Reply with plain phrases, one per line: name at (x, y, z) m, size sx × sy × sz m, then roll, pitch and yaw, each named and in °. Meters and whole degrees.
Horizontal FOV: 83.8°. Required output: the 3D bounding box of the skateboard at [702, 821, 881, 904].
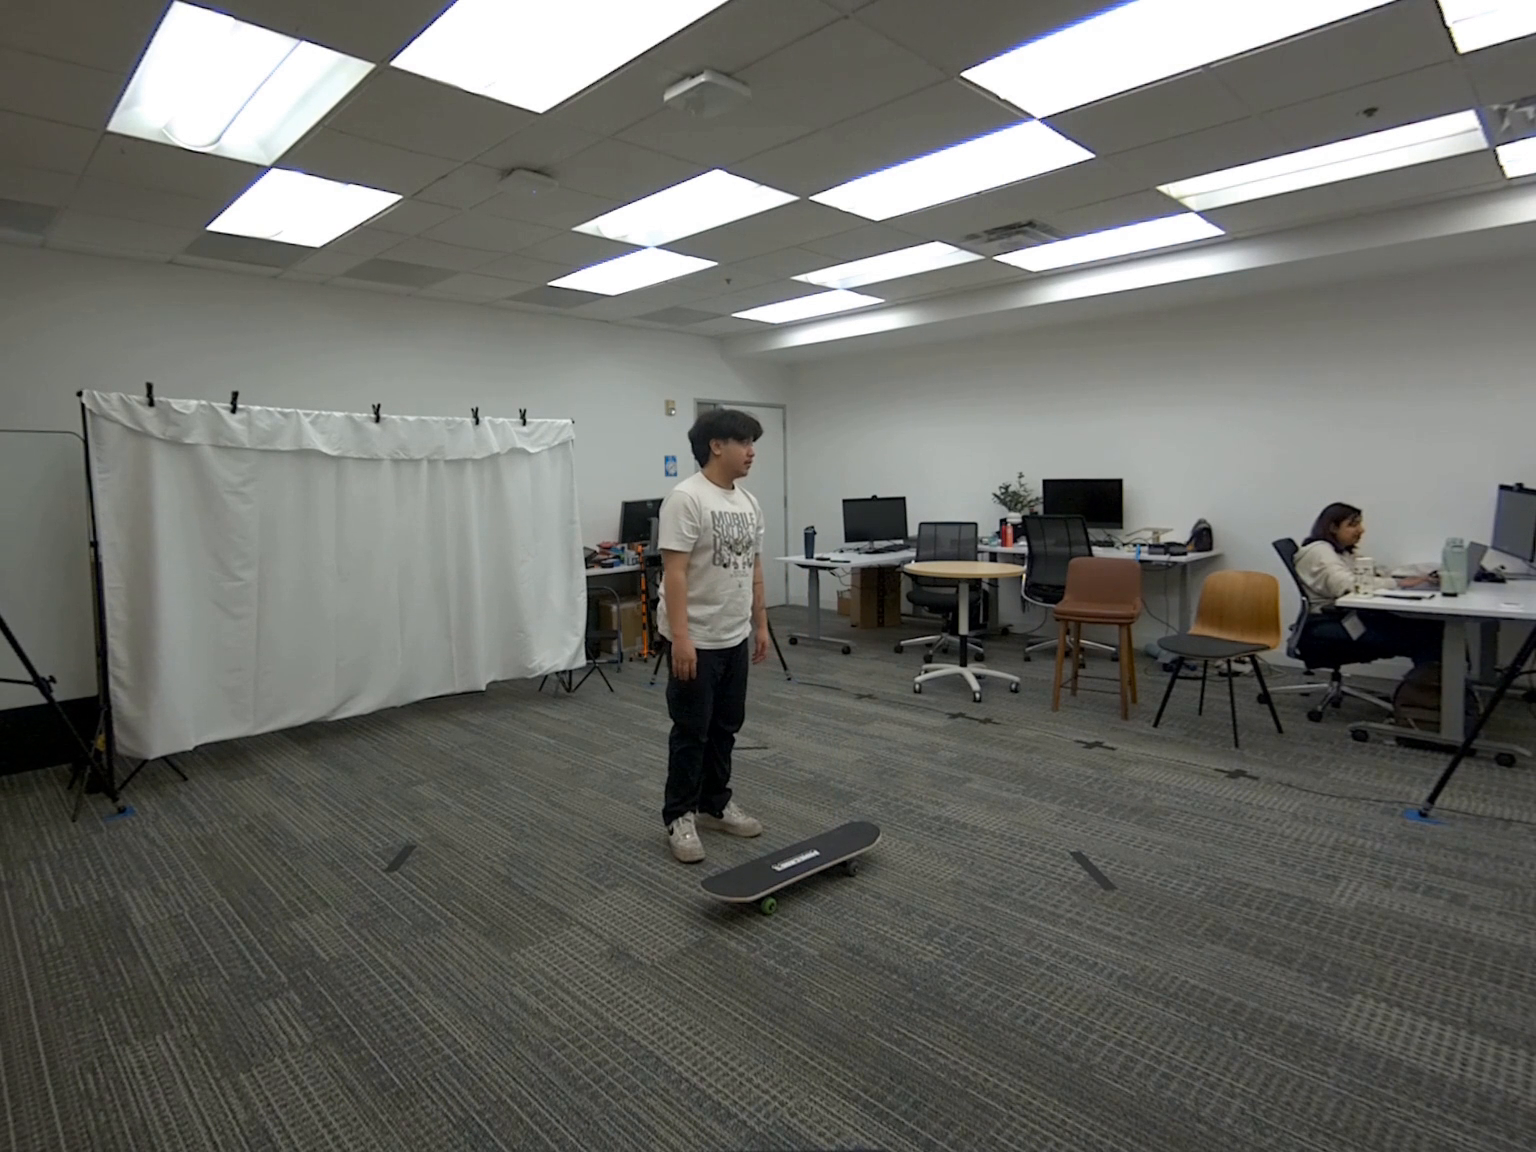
skateboard at (0.101, 1.000, 2.928) m, size 0.765 × 0.110 × 0.199 m, roll -7°, pitch 9°, yaw -41°
